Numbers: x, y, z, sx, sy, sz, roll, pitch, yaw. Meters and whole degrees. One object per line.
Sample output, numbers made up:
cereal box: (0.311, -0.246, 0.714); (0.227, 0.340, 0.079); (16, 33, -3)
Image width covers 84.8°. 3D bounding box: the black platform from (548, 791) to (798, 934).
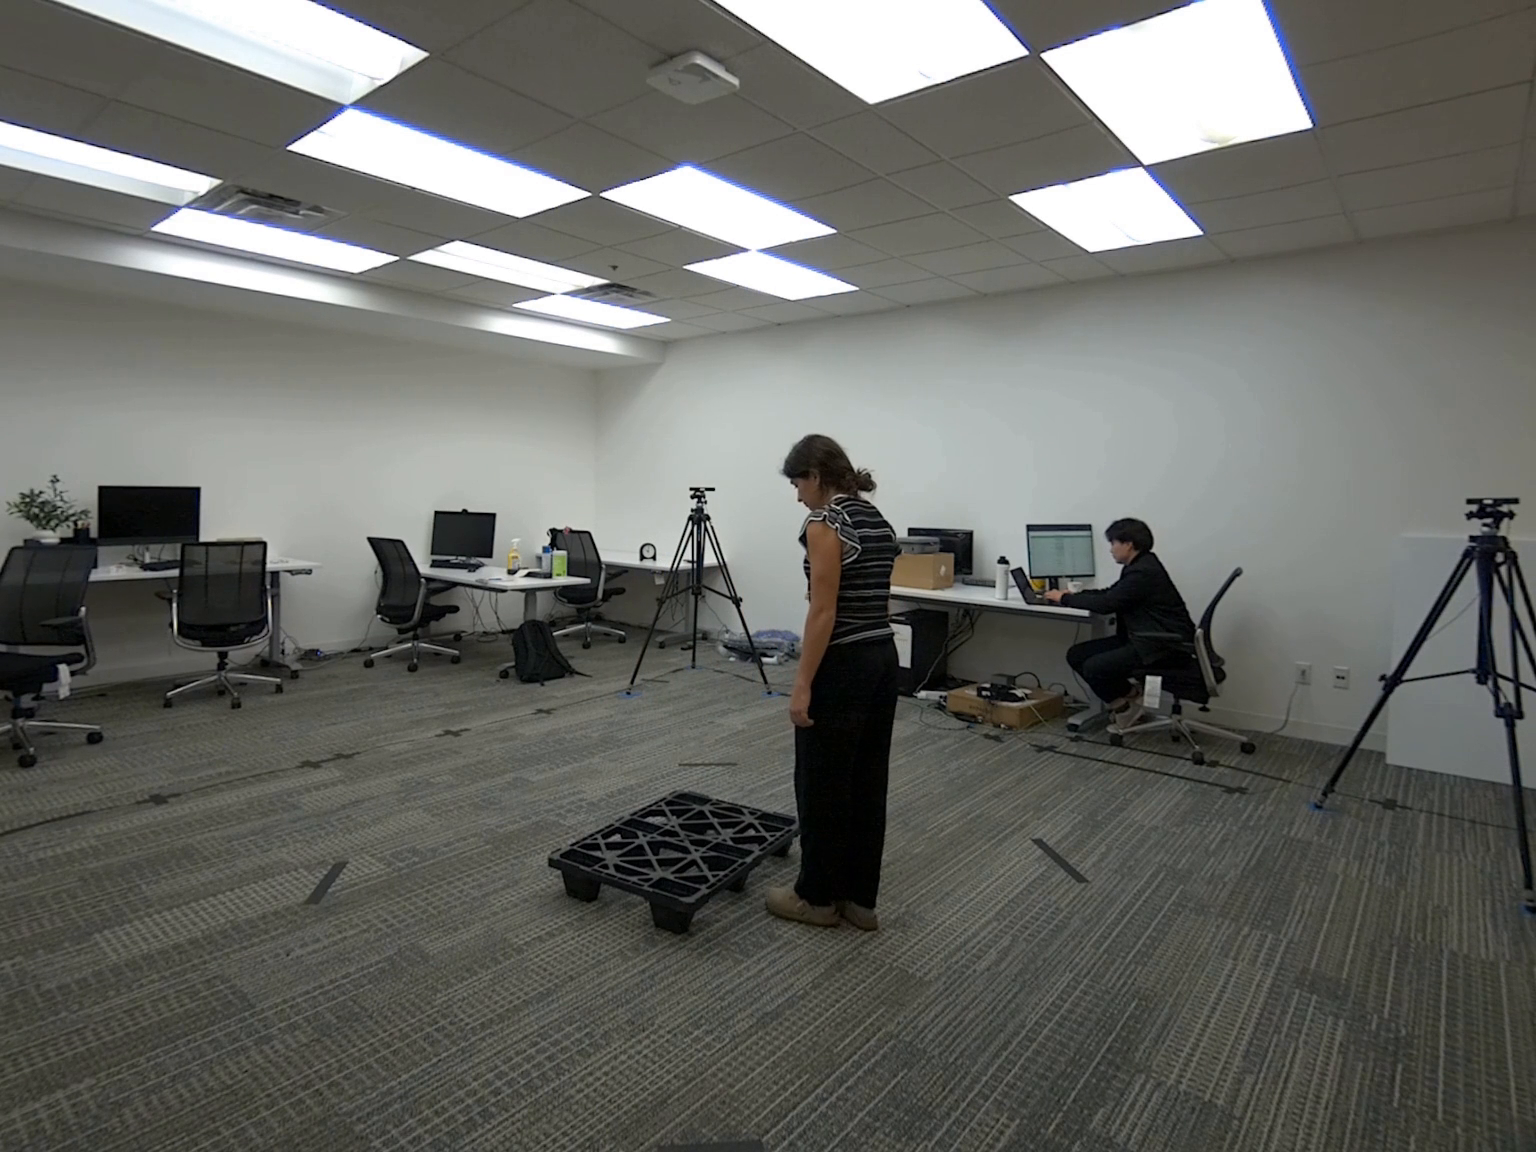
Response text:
black platform: (-0.319, 1.001, 3.065); (0.623, 0.143, 0.785); (3, 6, 30)
